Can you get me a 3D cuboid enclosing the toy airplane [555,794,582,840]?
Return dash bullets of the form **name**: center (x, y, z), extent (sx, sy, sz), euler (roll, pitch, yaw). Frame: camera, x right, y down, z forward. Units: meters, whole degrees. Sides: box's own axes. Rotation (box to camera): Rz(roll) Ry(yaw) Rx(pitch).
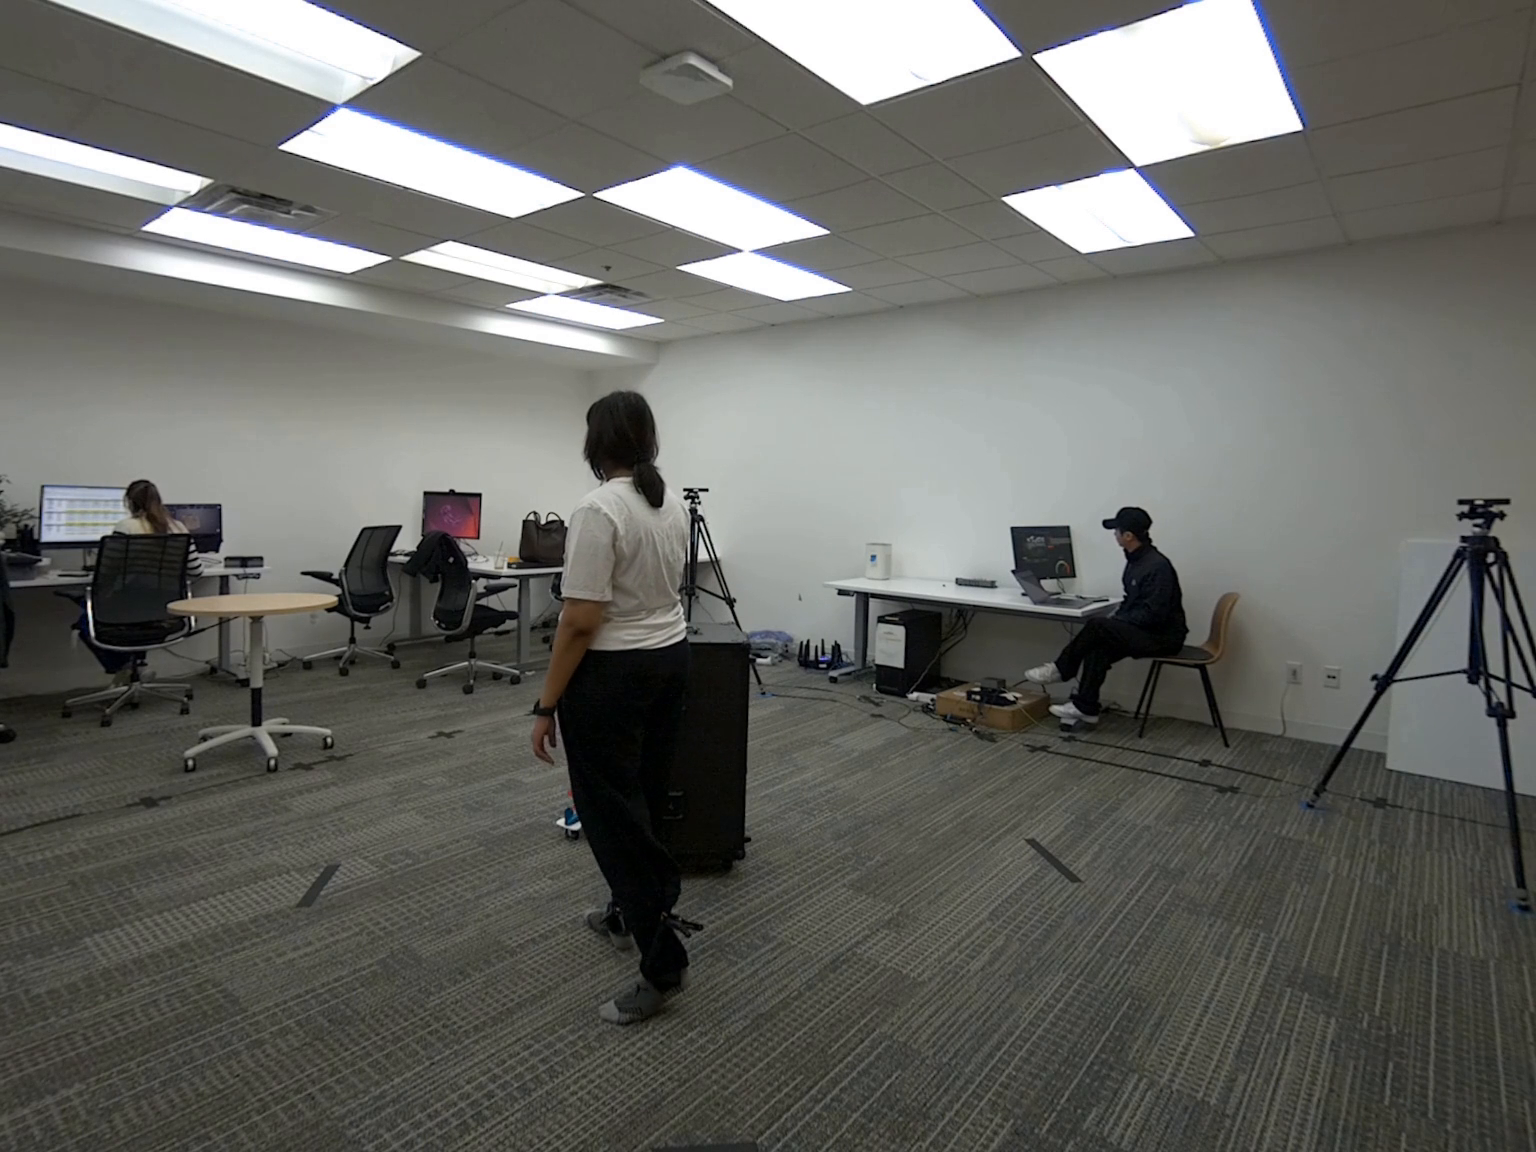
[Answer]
- **toy airplane**: center (-0.717, 0.953, 3.436), extent (0.253, 0.156, 0.258), euler (1, 3, 6)
